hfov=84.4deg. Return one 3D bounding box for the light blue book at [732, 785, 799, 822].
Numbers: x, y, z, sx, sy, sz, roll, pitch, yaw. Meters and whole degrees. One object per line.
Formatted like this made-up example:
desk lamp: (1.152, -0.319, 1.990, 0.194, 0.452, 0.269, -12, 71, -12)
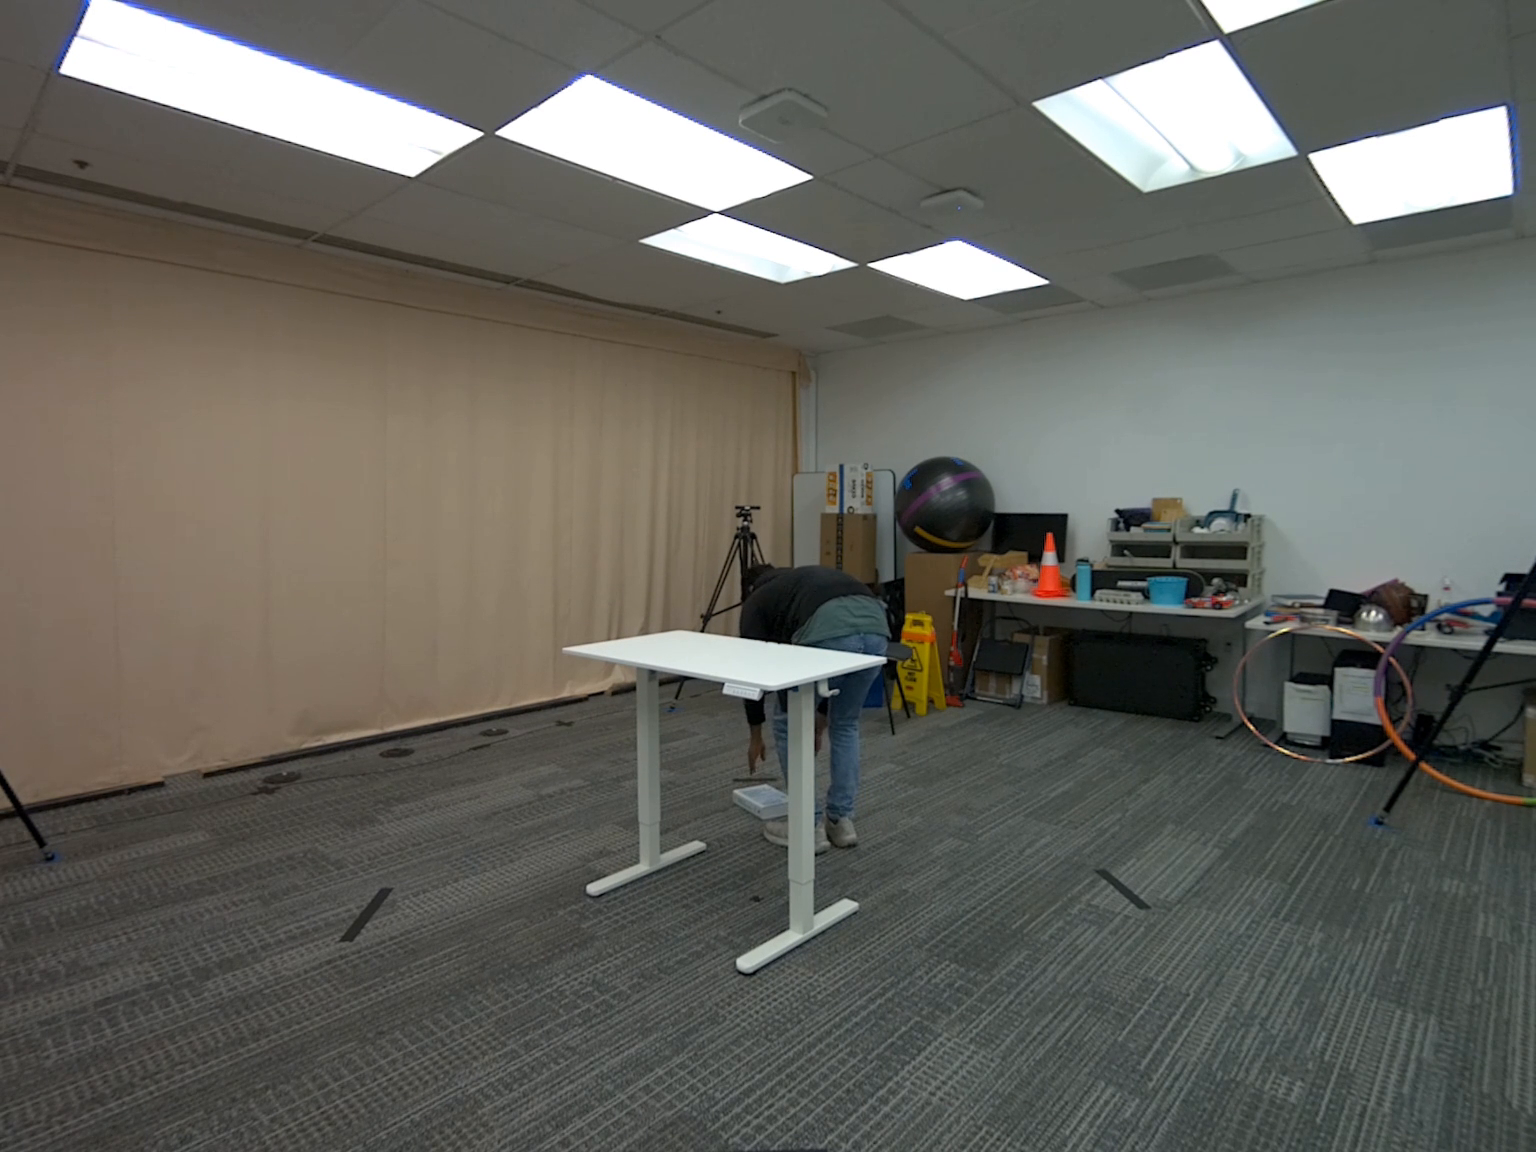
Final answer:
light blue book: (-0.016, 1.038, 3.889, 0.186, 0.059, 0.269, -2, 5, -31)
